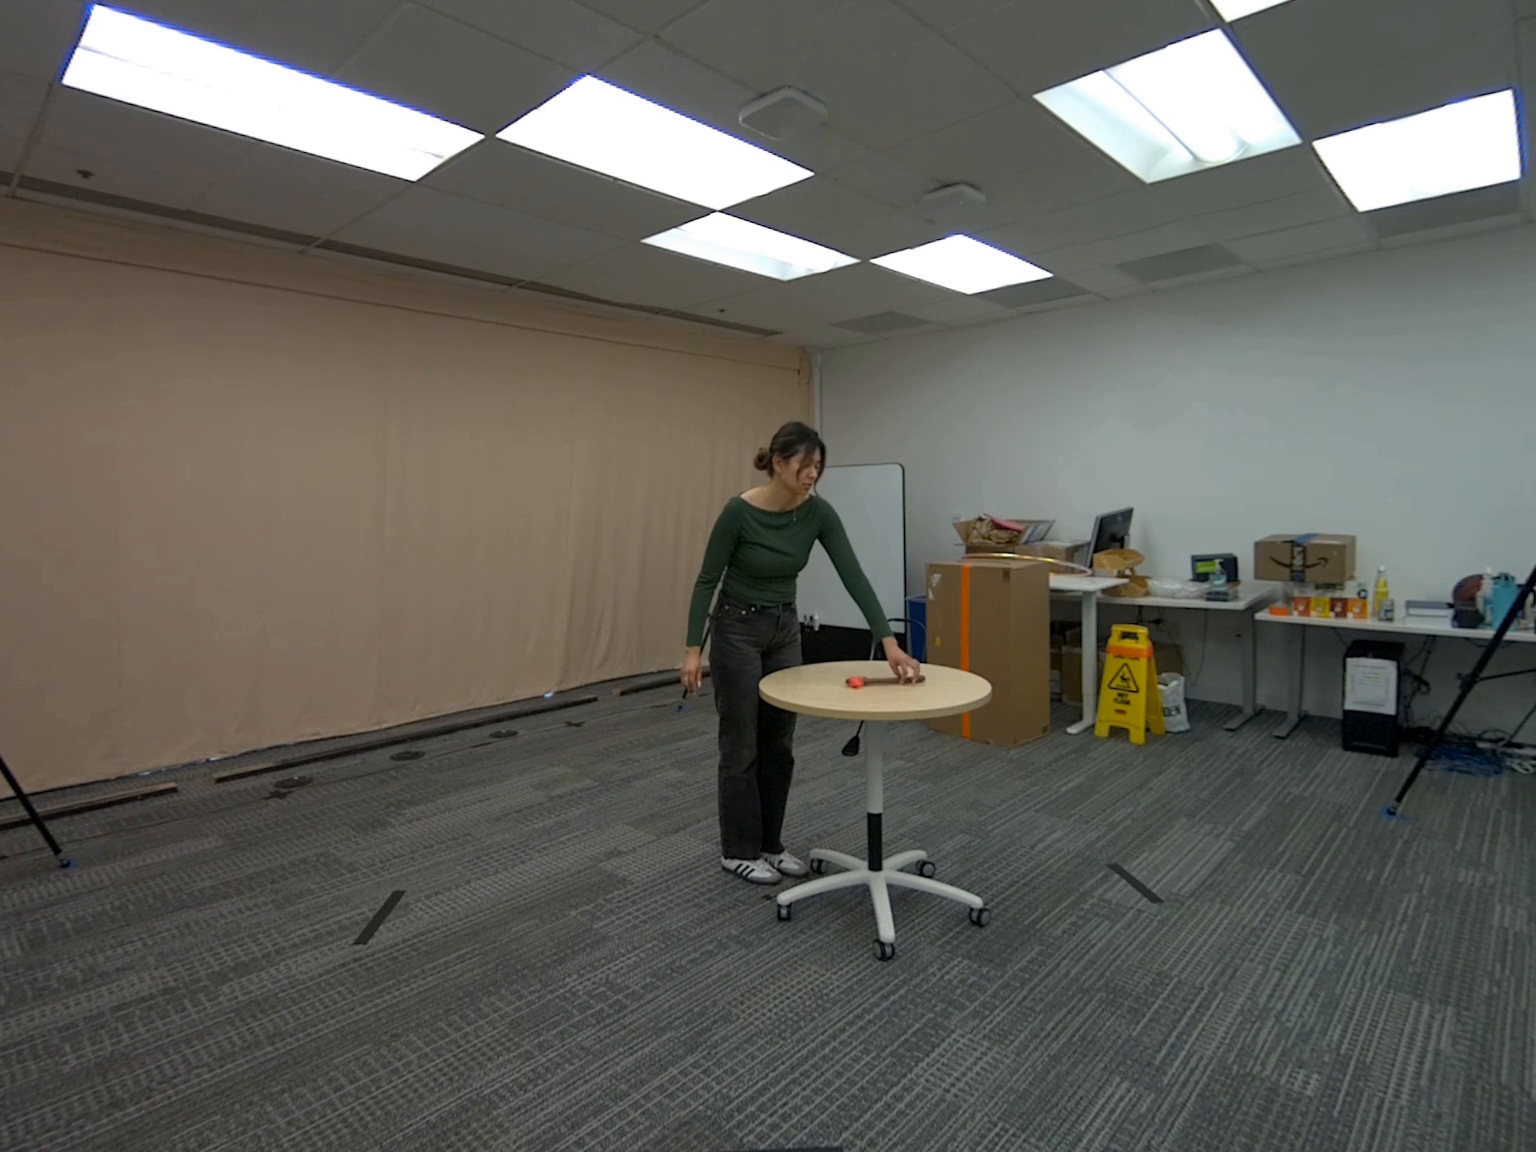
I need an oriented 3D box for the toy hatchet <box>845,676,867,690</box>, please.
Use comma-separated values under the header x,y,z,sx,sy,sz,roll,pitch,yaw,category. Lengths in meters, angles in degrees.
x,y,z,sx,sy,sz,roll,pitch,yaw,category
0.395,0.352,2.836,0.264,0.029,0.134,-1,-1,-23,toy hatchet
